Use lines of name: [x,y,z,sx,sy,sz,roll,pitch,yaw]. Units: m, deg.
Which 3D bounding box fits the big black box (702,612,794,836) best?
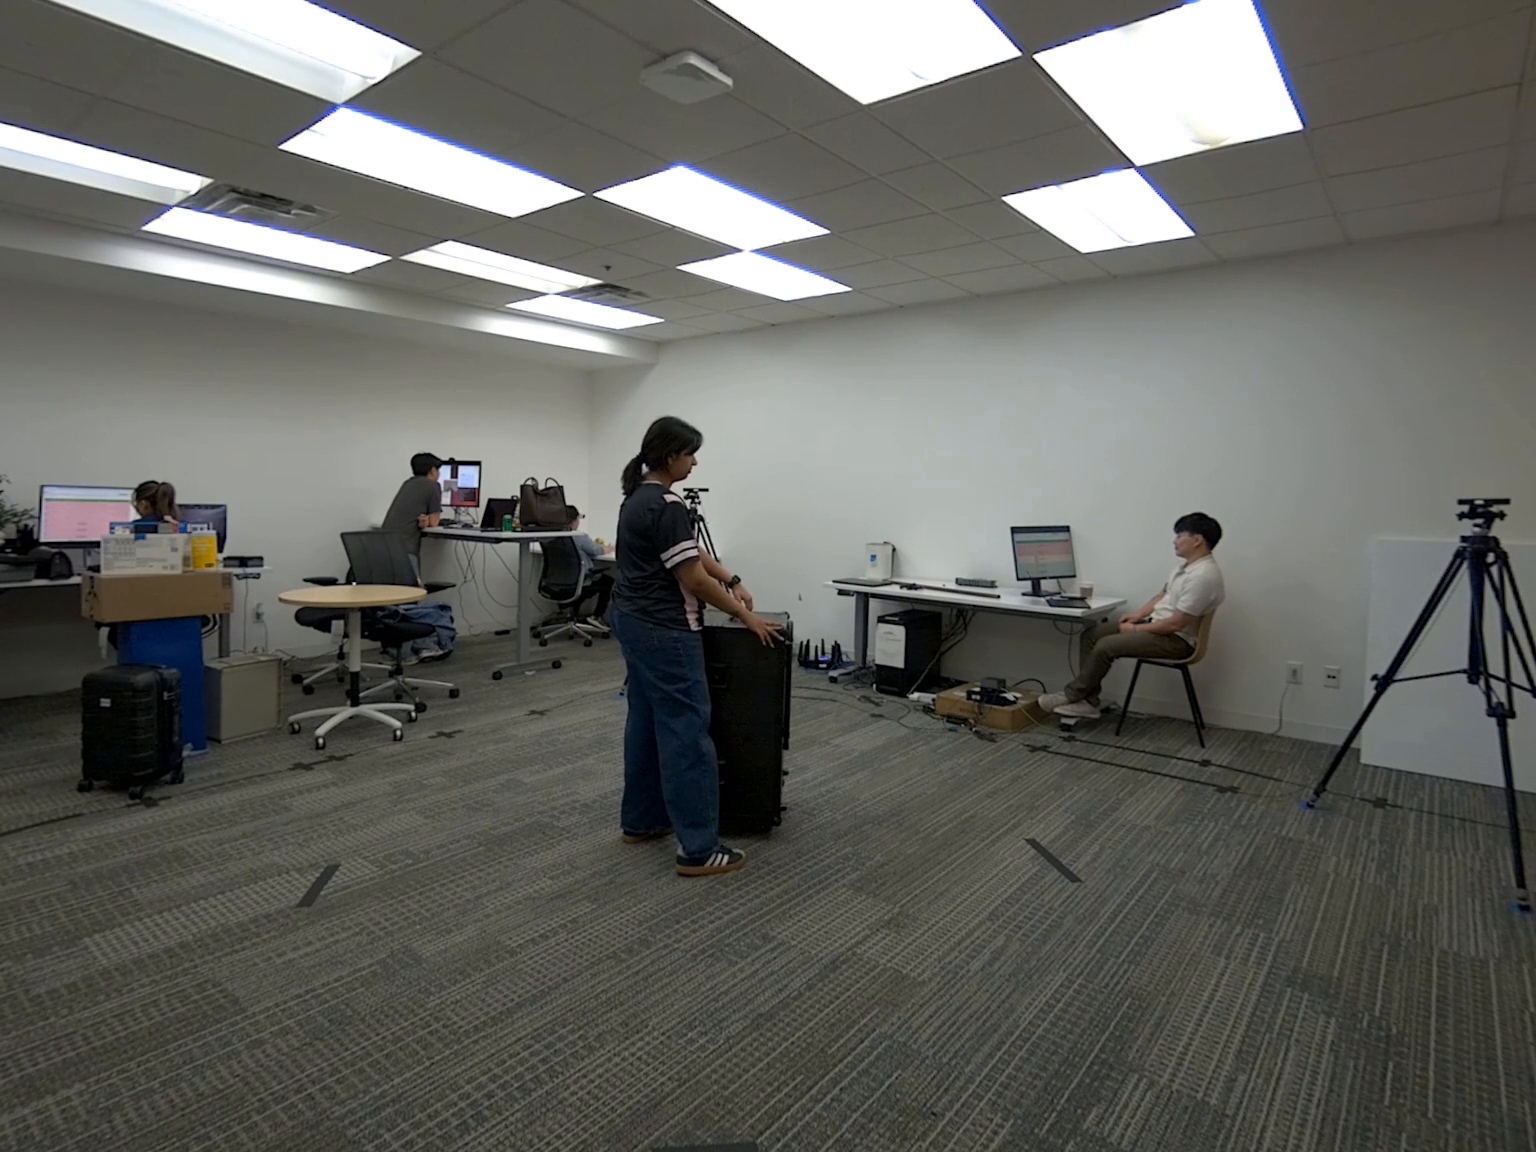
big black box: [-0.105,0.602,3.597,0.386,0.866,0.524,2,4,1]
